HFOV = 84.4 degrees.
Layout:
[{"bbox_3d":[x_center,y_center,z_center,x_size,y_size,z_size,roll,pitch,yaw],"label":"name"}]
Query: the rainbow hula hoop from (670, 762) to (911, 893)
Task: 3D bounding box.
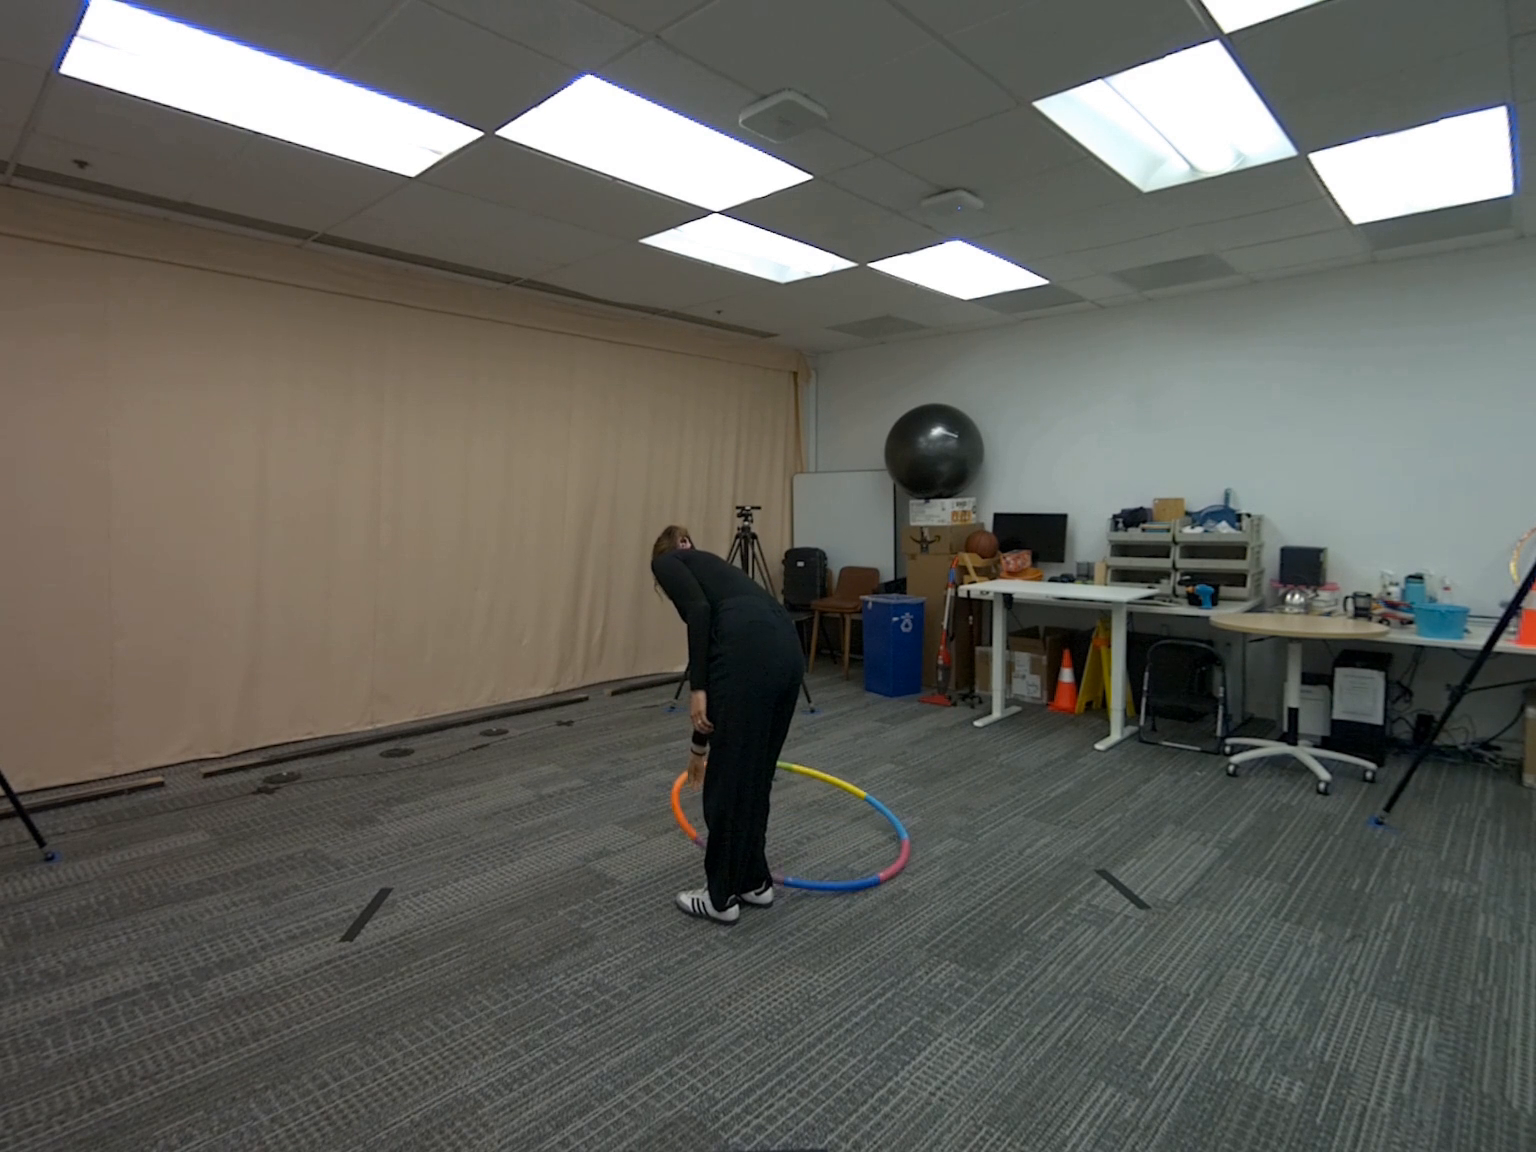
[{"bbox_3d":[0.098,0.988,3.457,0.983,0.051,0.993,9,11,-4],"label":"rainbow hula hoop"}]
